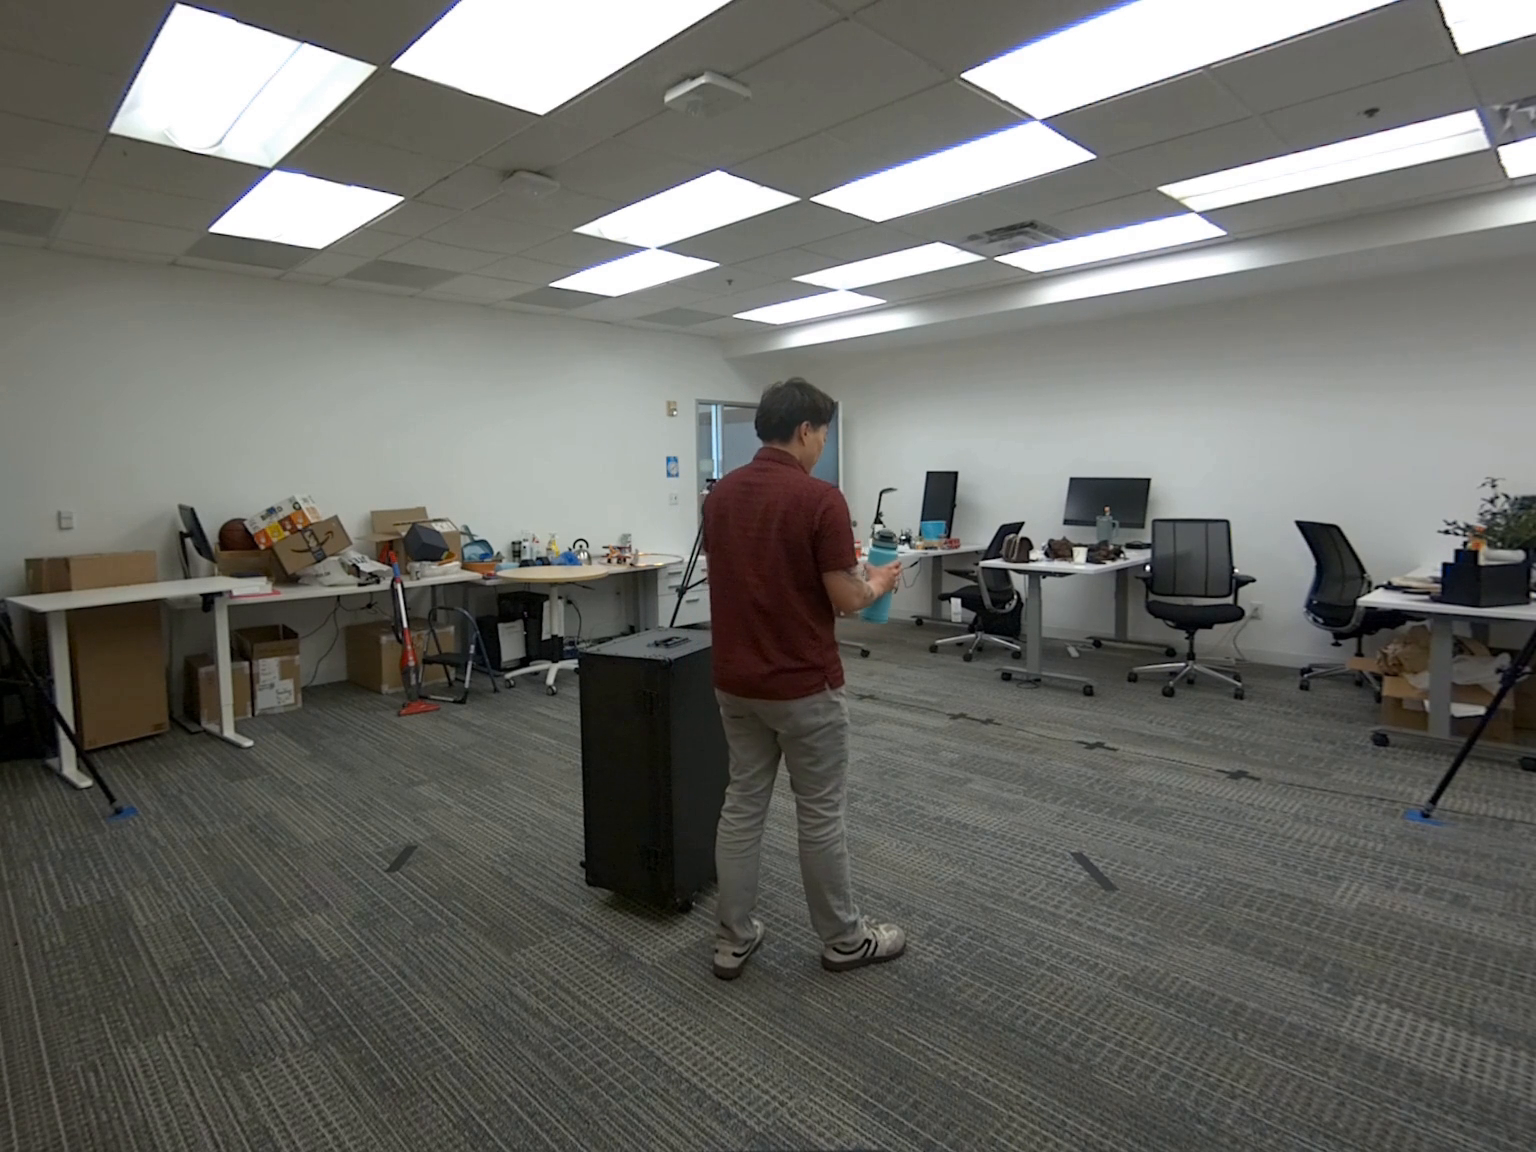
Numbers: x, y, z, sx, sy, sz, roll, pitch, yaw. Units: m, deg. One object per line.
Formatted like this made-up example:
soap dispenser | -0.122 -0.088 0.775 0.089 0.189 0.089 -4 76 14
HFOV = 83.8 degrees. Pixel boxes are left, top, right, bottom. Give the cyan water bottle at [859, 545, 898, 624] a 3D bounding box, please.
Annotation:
cyan water bottle | 0.348 -0.003 2.601 0.092 0.282 0.093 7 5 -2
